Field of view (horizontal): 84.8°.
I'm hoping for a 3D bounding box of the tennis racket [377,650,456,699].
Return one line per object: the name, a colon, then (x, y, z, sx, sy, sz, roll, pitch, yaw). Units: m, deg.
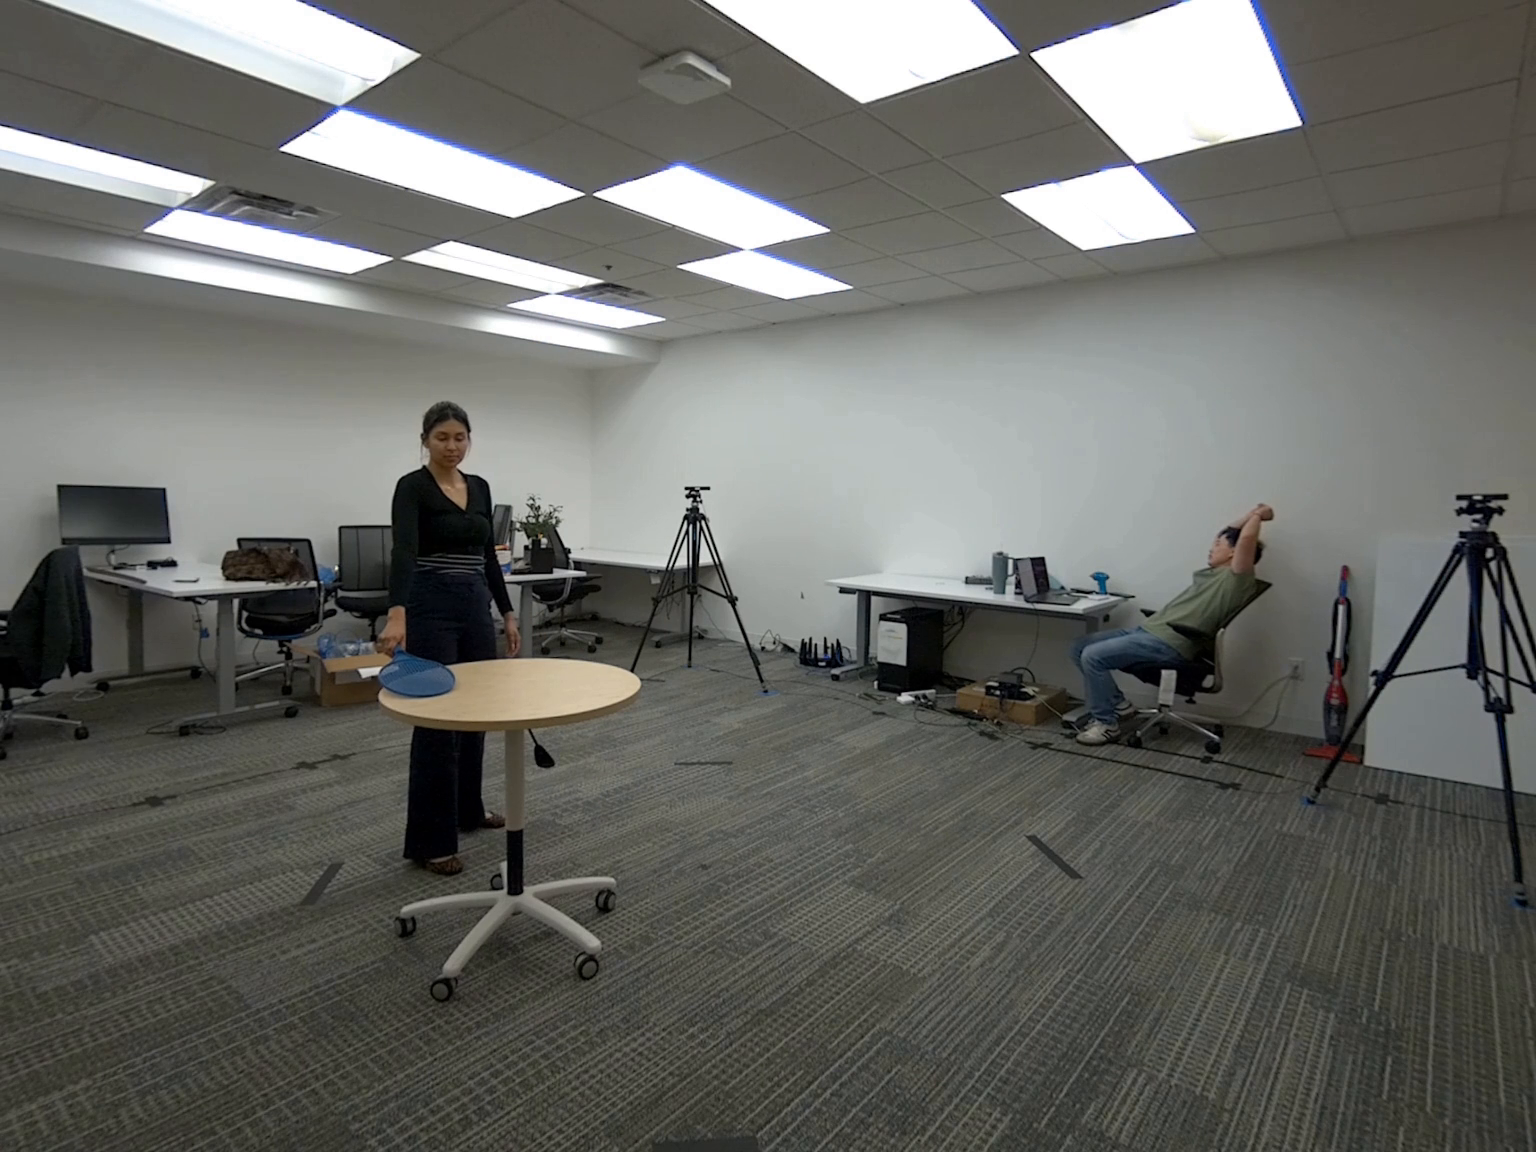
tennis racket: (-1.089, 0.278, 2.604, 0.207, 0.031, 0.450, -1, 16, -34)
